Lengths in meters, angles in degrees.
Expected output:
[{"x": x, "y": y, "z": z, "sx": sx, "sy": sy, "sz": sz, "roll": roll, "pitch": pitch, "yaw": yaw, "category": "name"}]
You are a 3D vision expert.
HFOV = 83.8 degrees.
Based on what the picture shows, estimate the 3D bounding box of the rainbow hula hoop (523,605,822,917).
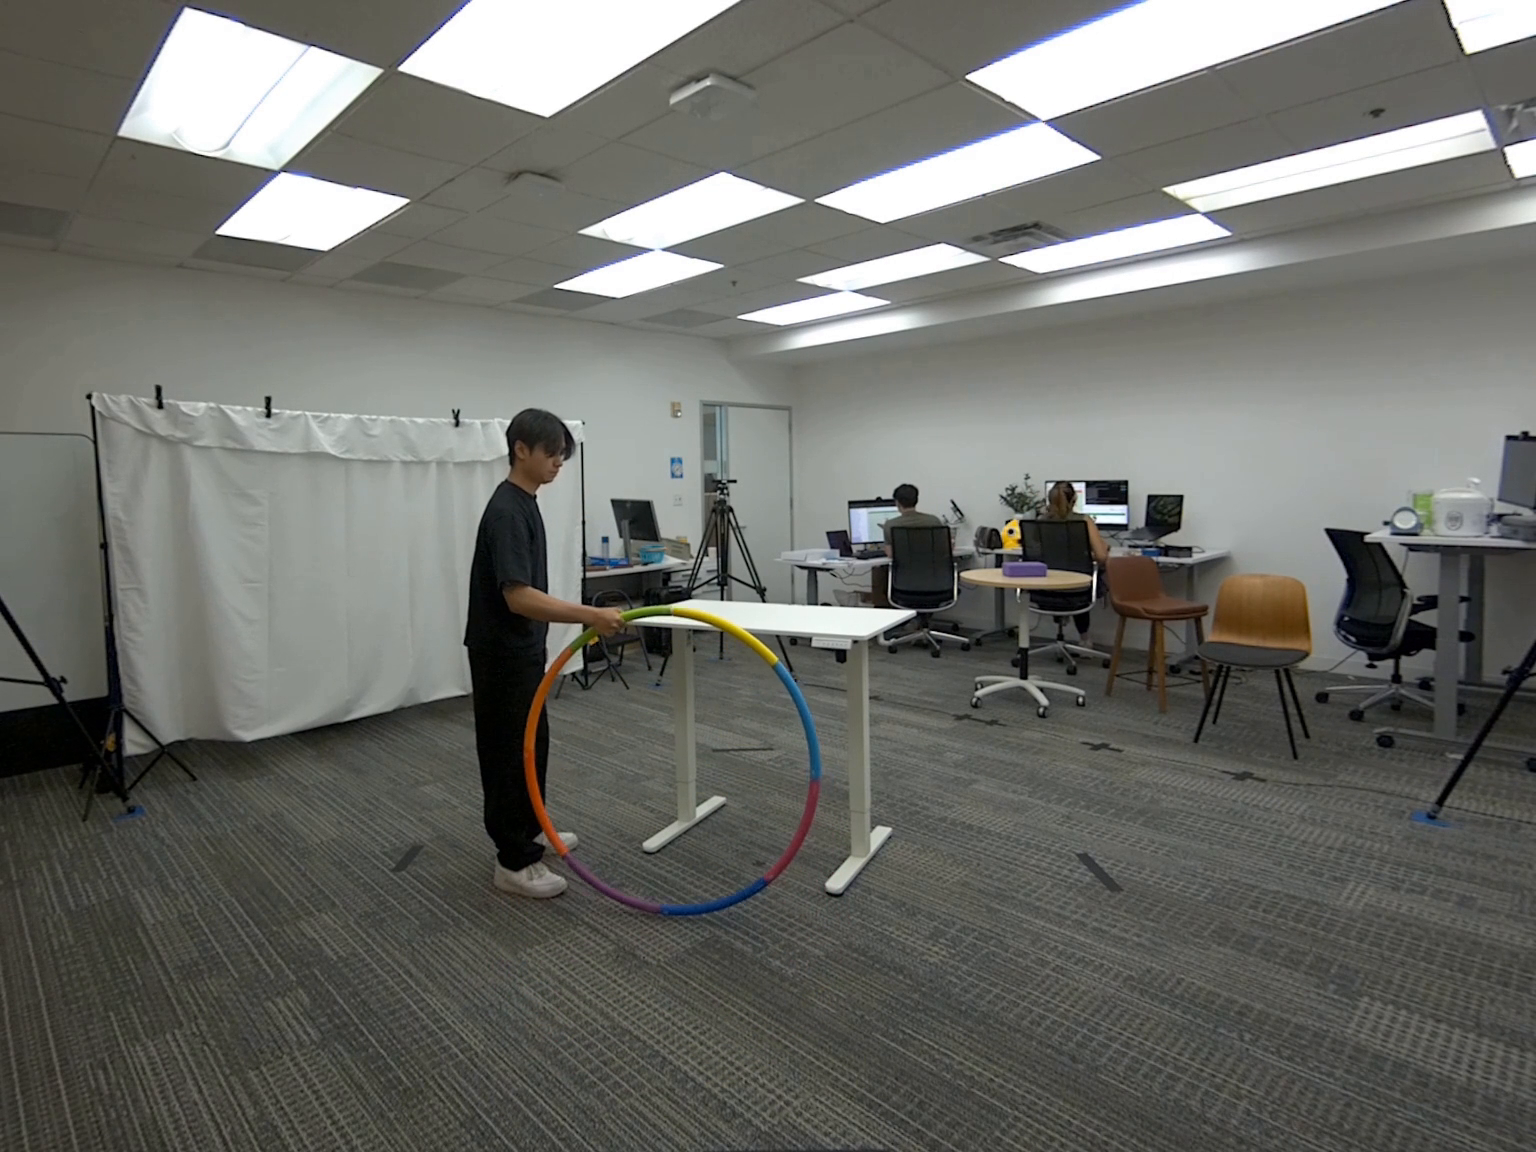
[{"x": -0.311, "y": 0.598, "z": 2.722, "sx": 0.991, "sy": 0.978, "sz": 0.035, "roll": 0, "pitch": 1, "yaw": 14, "category": "rainbow hula hoop"}]
